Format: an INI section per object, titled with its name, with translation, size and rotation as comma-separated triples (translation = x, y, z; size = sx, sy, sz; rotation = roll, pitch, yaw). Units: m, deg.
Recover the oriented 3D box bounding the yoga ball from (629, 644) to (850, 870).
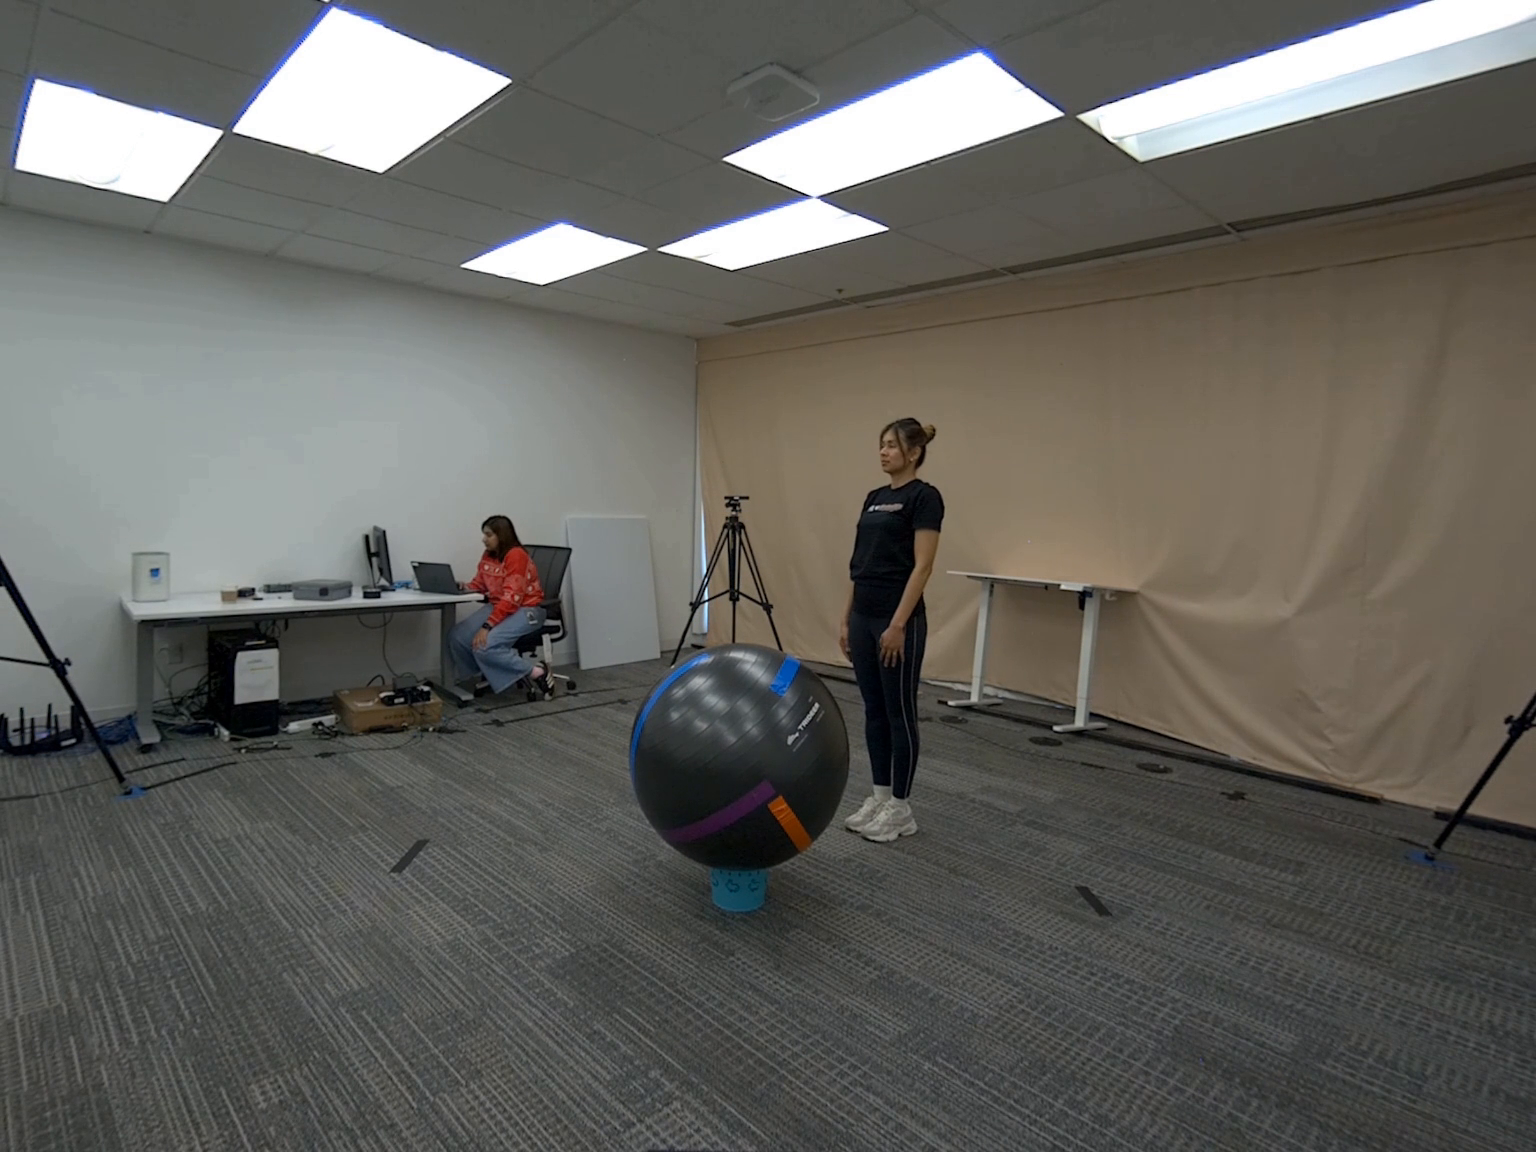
[yoga ball]
translation = -0.104, 0.613, 2.886
size = 0.757, 0.756, 0.761
rotation = 1, 4, -1
